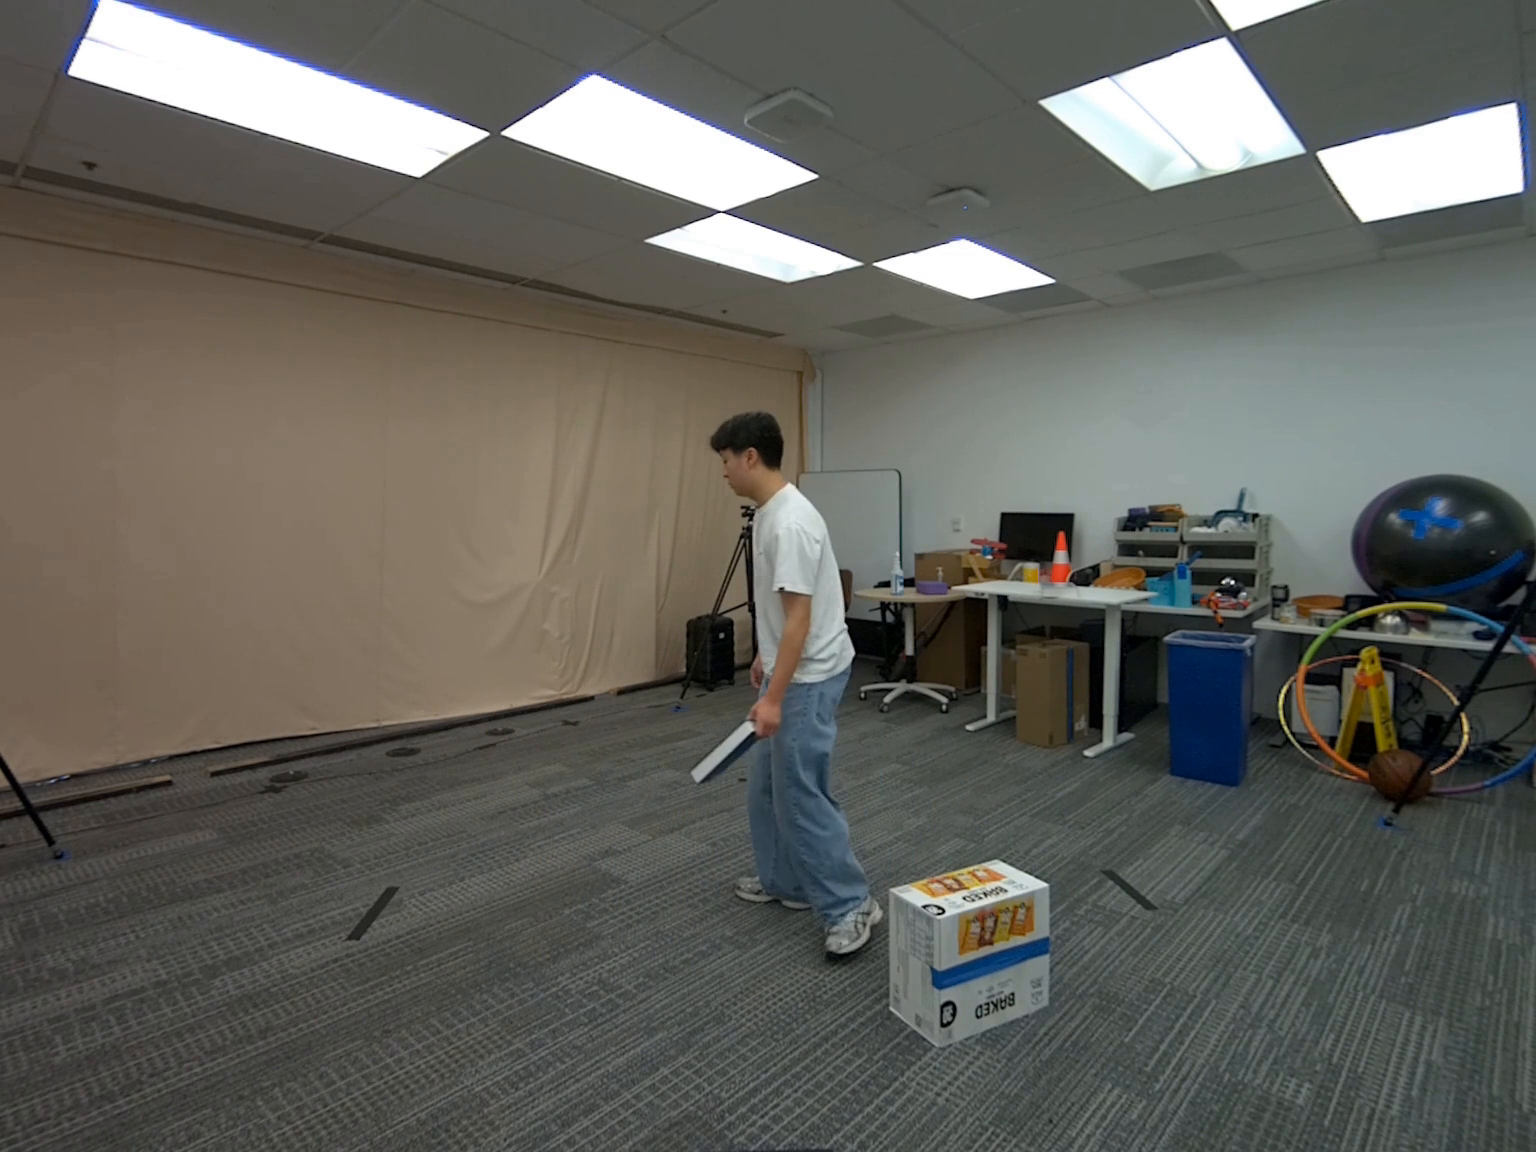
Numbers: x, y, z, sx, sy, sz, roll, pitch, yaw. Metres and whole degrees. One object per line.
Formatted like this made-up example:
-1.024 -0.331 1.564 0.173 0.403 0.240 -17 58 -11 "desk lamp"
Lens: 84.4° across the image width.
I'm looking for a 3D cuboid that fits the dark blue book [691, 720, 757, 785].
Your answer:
-0.107 0.546 2.594 0.246 0.046 0.159 -43 -18 7 "dark blue book"
